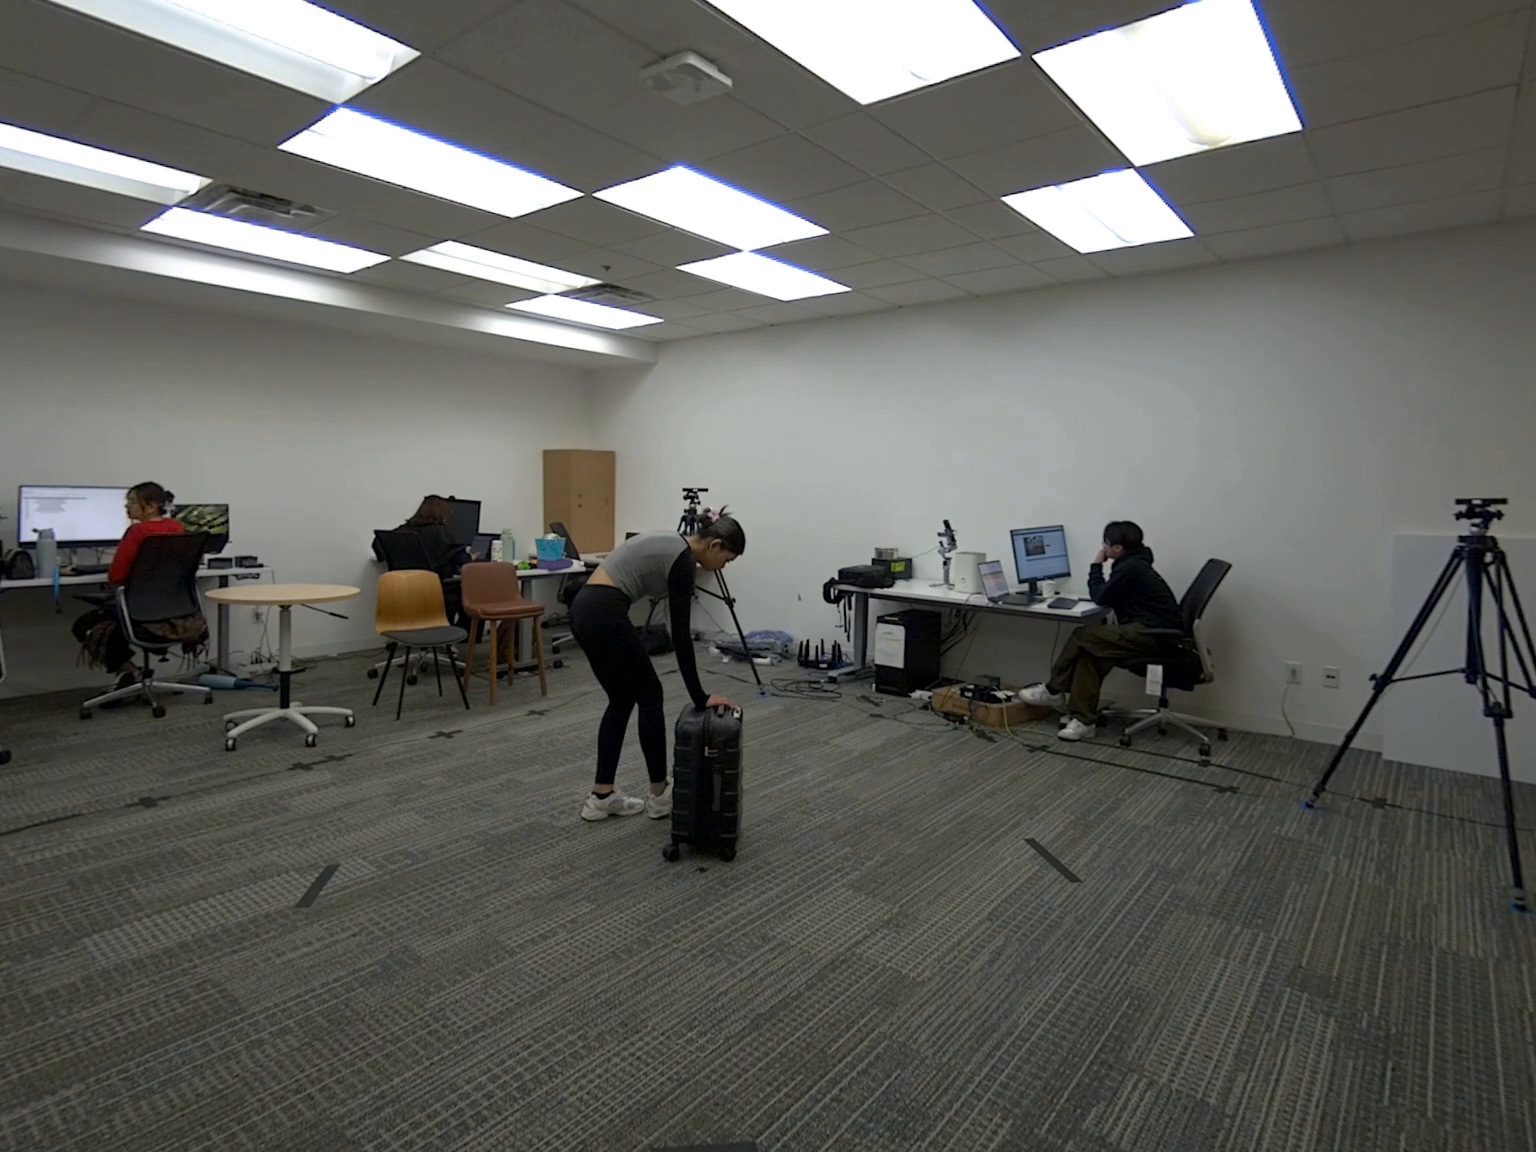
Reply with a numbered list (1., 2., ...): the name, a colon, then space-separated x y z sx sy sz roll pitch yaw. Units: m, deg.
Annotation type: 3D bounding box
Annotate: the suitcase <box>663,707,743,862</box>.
1. suitcase: -0.237 0.775 3.317 0.249 0.548 0.375 2 4 1
